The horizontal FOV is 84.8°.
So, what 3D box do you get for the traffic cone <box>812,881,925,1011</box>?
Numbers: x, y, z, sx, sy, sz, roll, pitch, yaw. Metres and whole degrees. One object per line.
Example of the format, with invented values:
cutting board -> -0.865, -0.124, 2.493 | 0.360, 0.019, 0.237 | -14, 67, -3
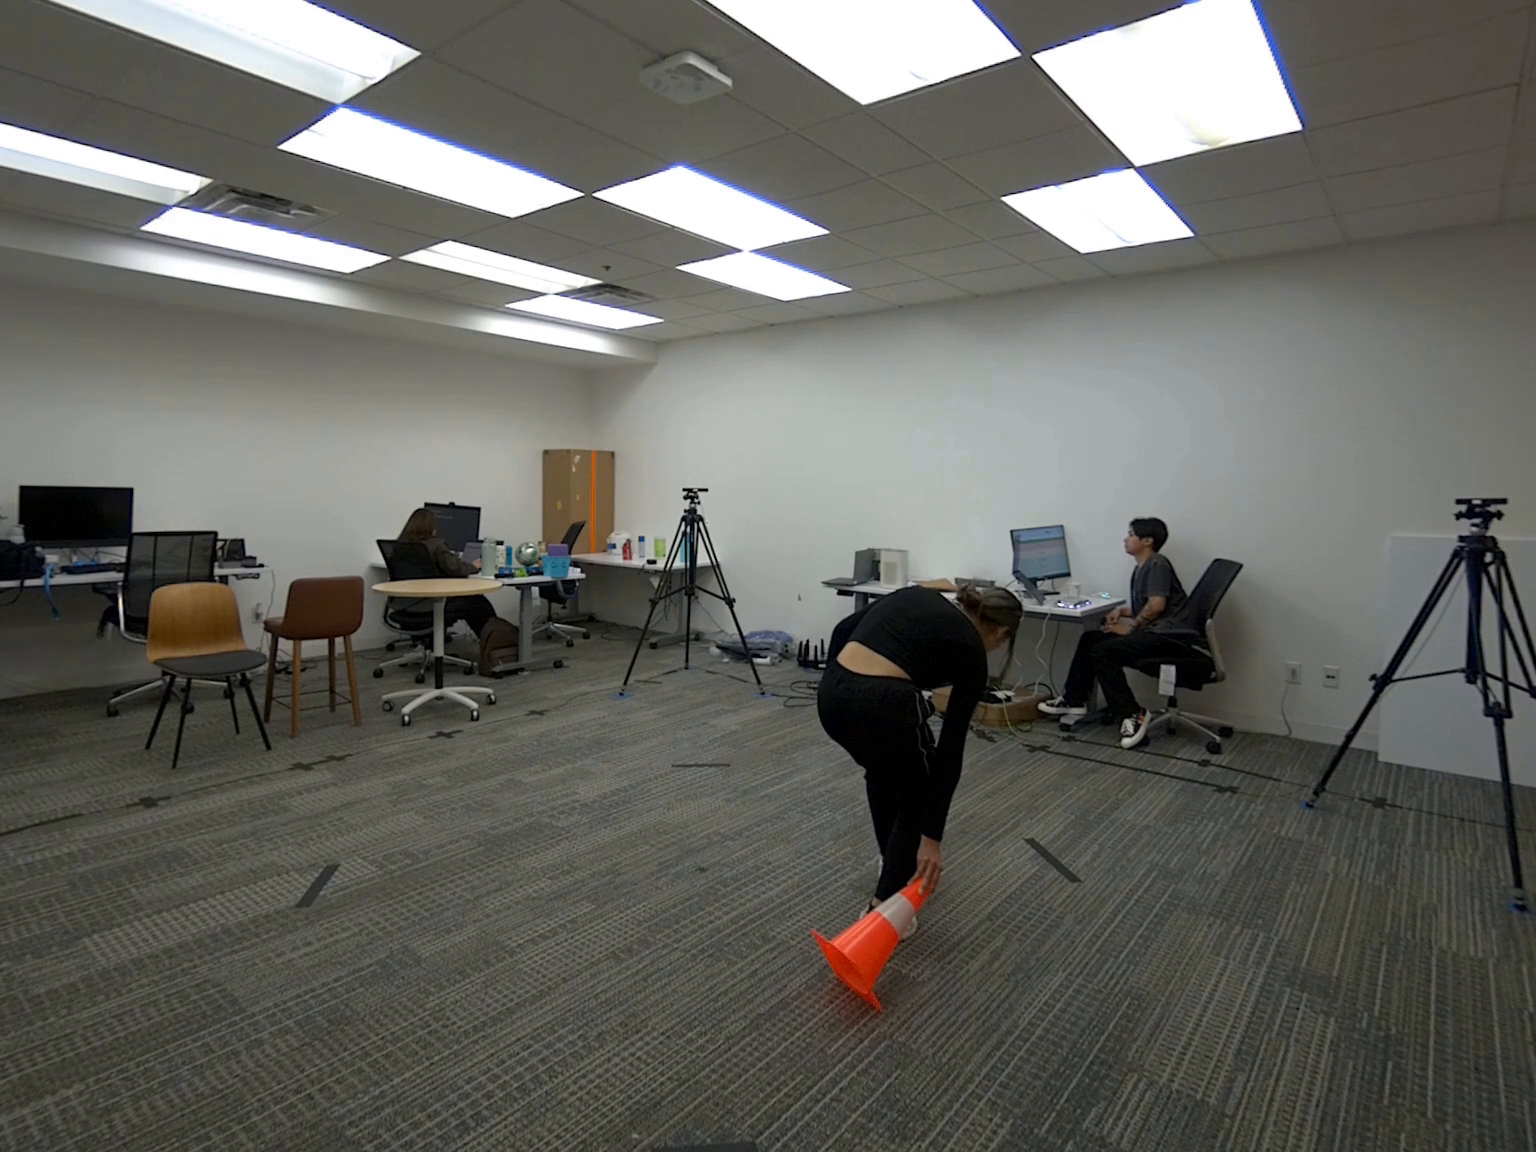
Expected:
traffic cone -> 0.342, 0.970, 2.401 | 0.381, 0.198, 0.212 | -36, 26, -22
